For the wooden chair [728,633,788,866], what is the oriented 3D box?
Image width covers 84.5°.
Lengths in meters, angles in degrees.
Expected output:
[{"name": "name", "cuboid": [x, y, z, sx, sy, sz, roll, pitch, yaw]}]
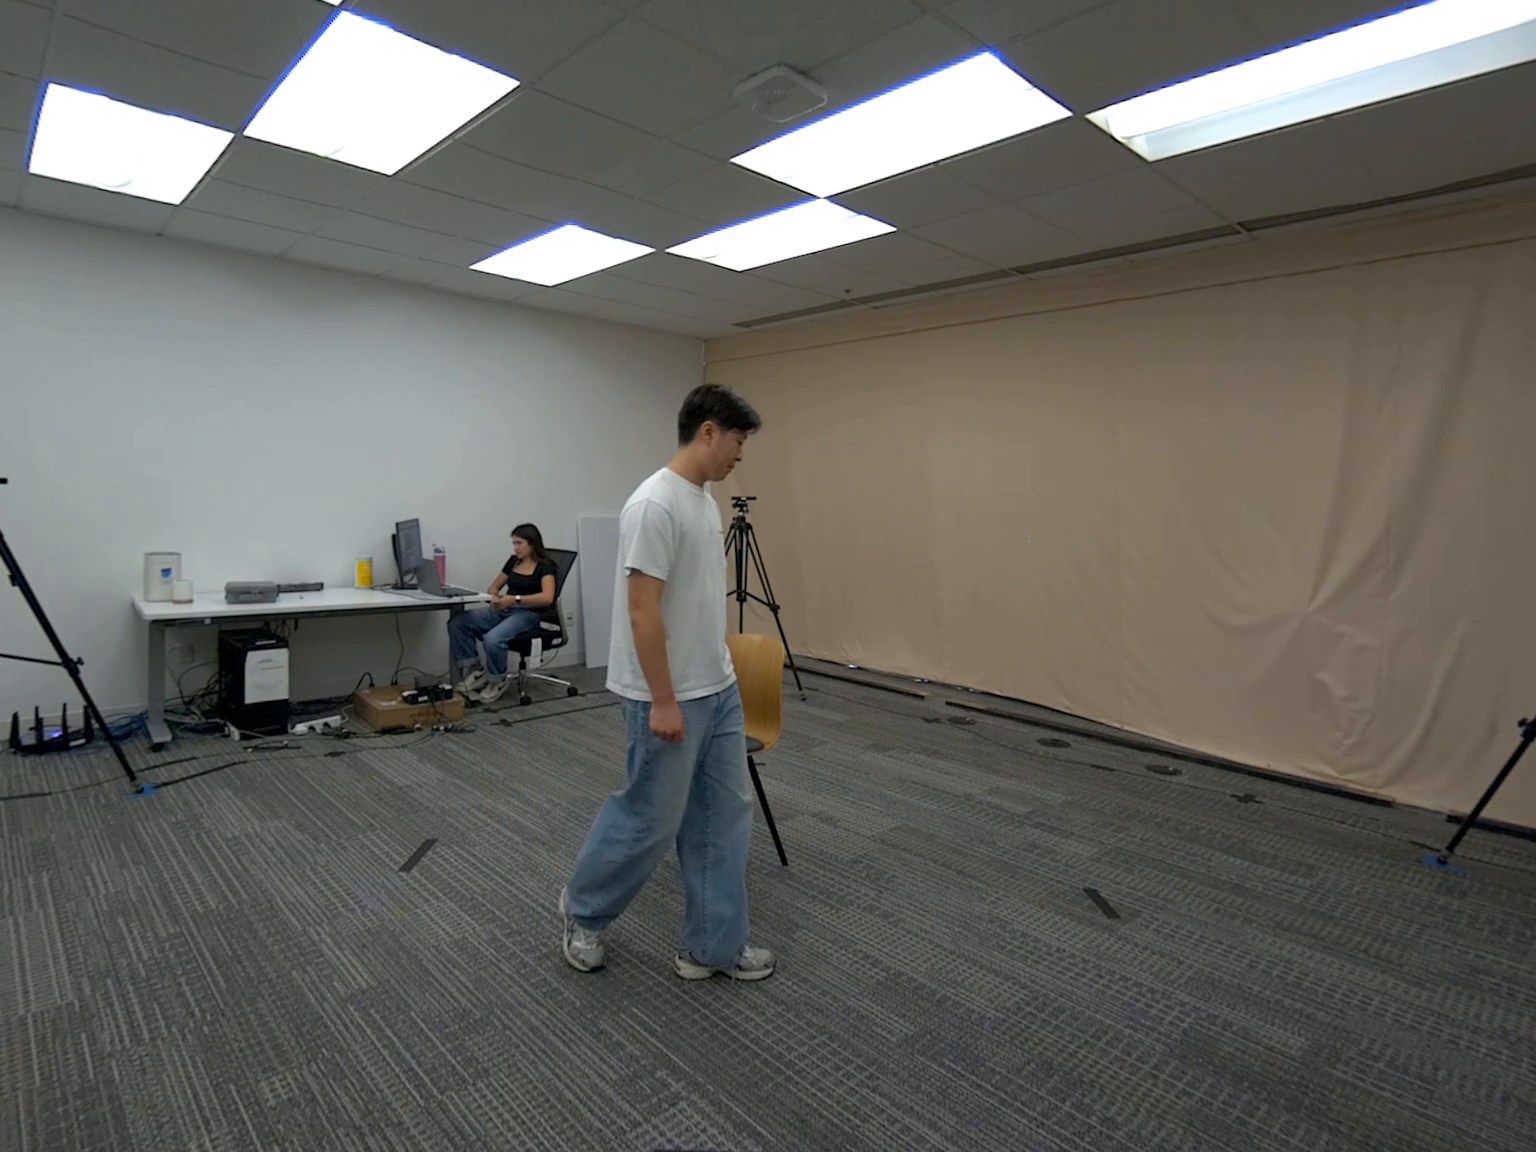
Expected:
[{"name": "wooden chair", "cuboid": [-0.239, 0.672, 3.186, 0.510, 0.877, 0.490, 4, 1, -42]}]
